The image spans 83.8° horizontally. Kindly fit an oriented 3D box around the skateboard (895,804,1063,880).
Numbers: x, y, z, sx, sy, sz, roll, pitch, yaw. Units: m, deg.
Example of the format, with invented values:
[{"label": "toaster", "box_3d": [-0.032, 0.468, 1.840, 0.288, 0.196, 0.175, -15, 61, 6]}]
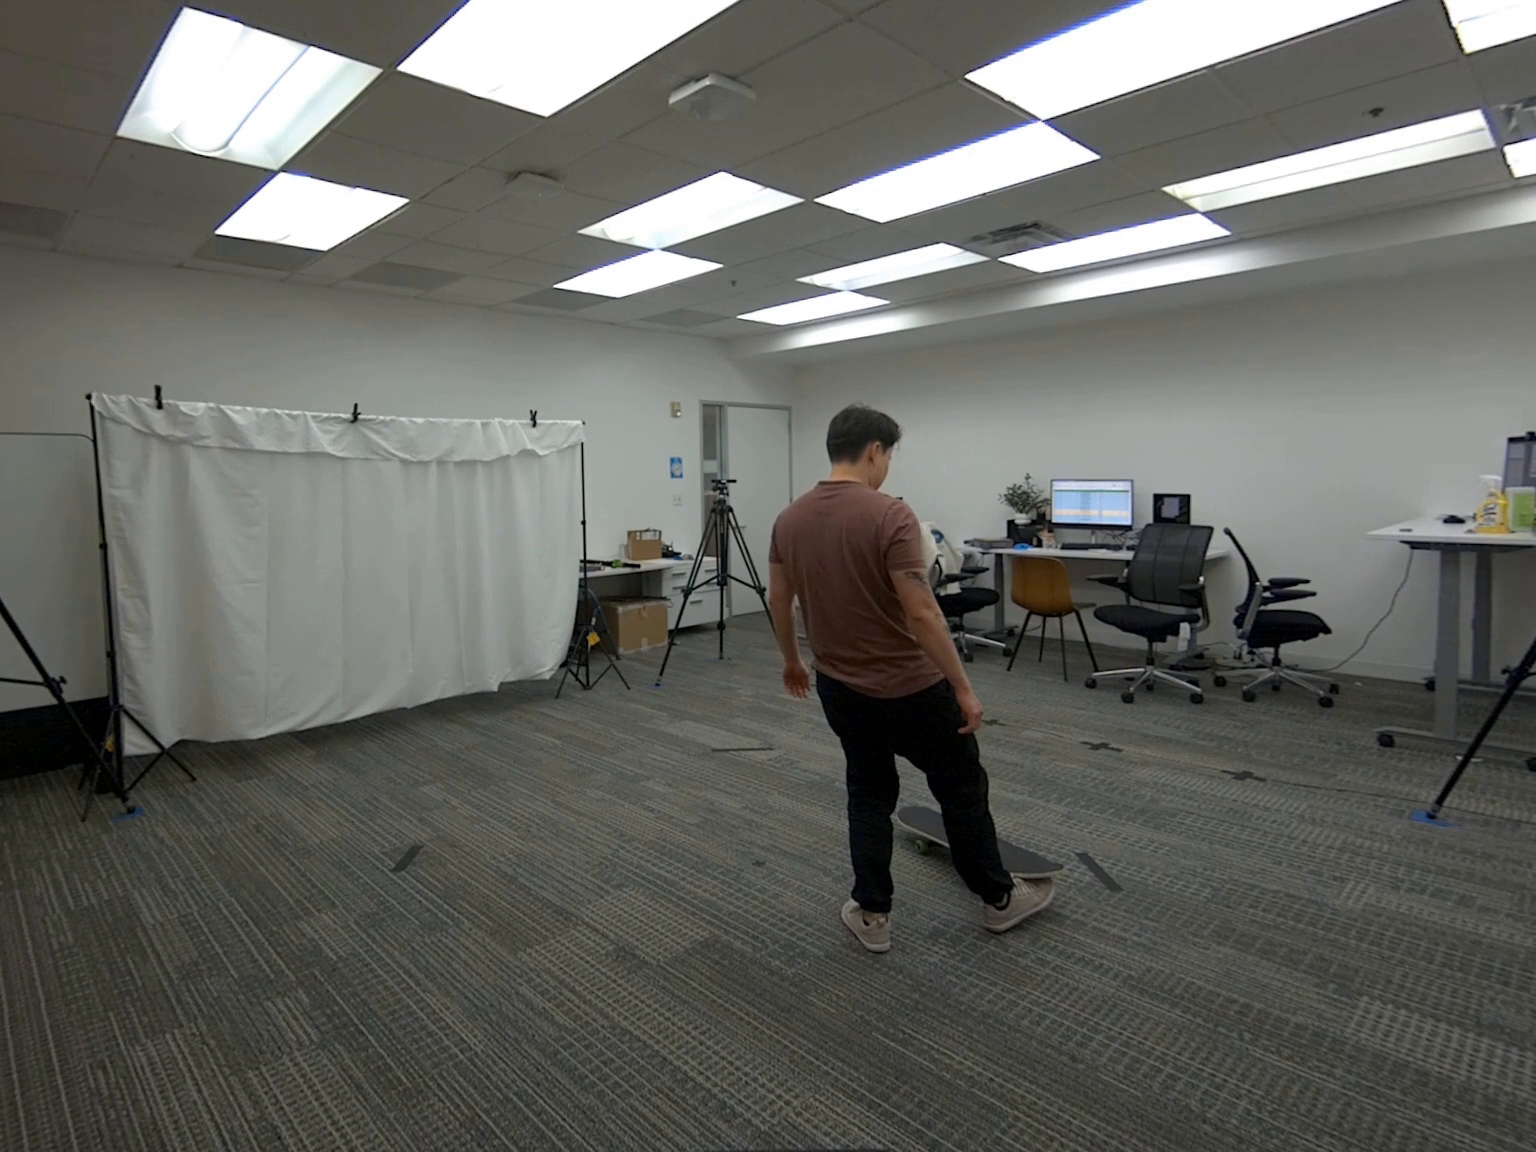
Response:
[{"label": "skateboard", "box_3d": [0.727, 0.972, 3.016, 0.190, 0.110, 0.802, -6, 3, -25]}]
